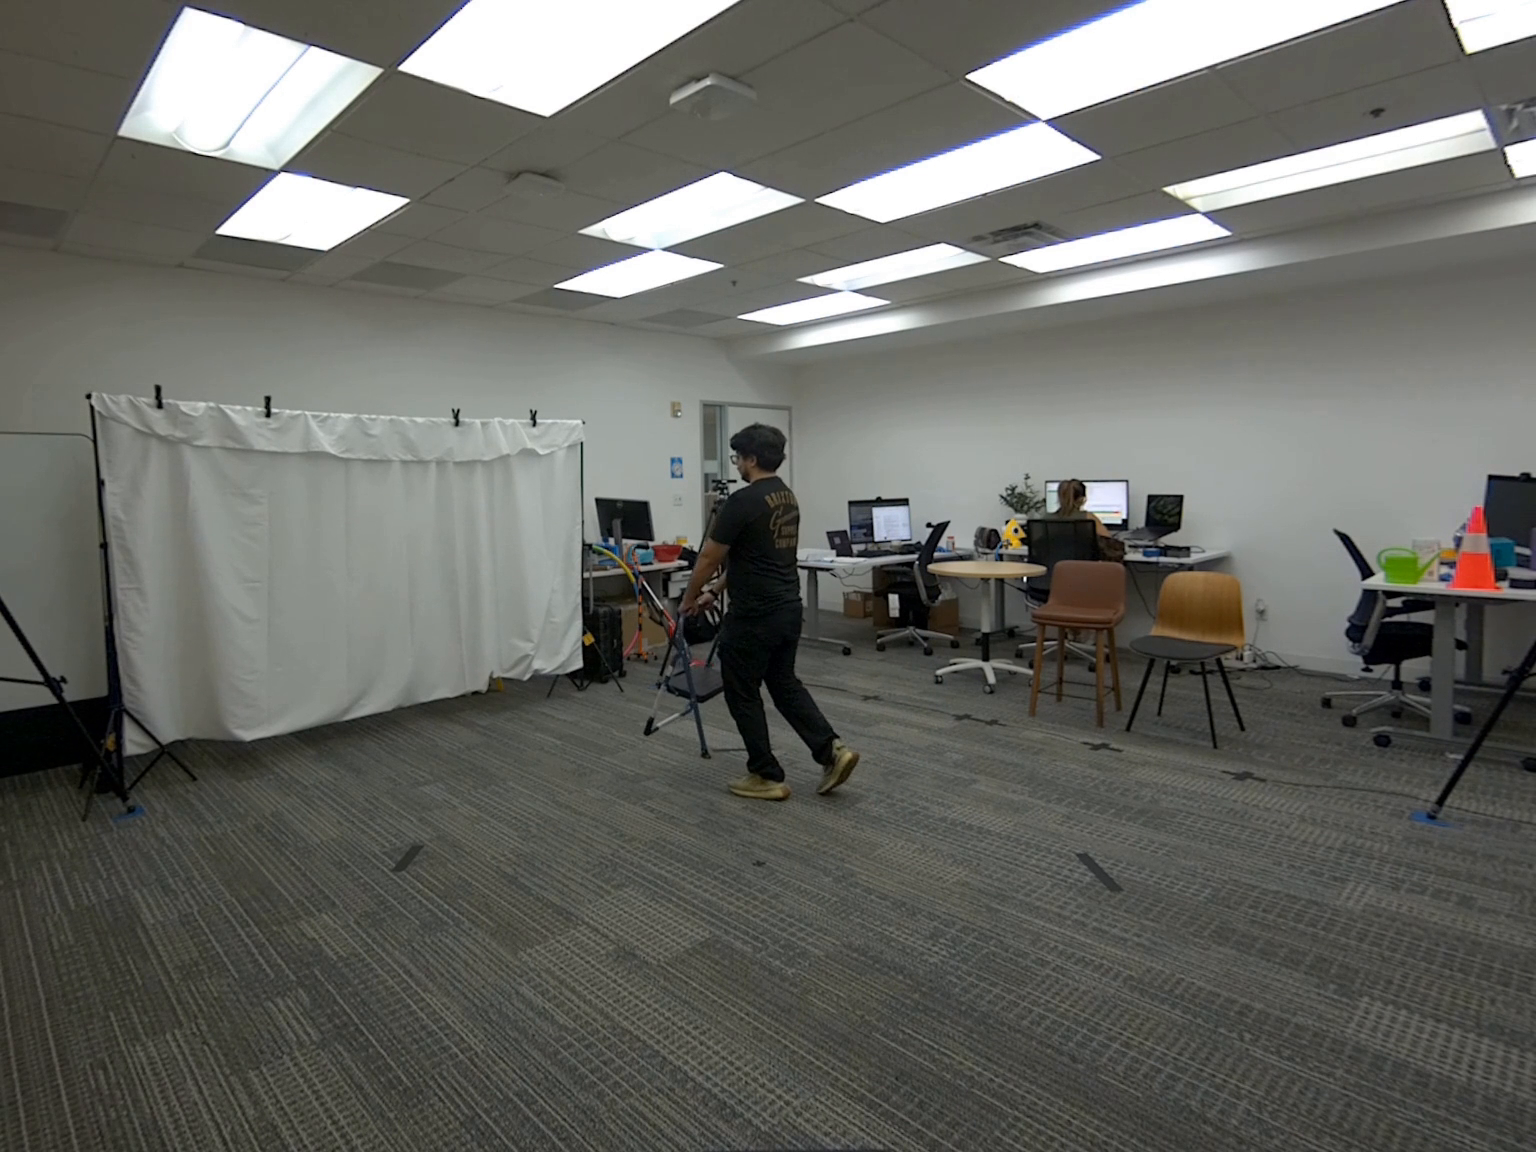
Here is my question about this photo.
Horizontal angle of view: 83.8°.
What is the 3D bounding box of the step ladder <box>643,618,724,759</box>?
[{"bbox_3d":[-0.288,0.439,3.944,0.358,0.601,0.423,13,12,23],"label":"step ladder"}]
